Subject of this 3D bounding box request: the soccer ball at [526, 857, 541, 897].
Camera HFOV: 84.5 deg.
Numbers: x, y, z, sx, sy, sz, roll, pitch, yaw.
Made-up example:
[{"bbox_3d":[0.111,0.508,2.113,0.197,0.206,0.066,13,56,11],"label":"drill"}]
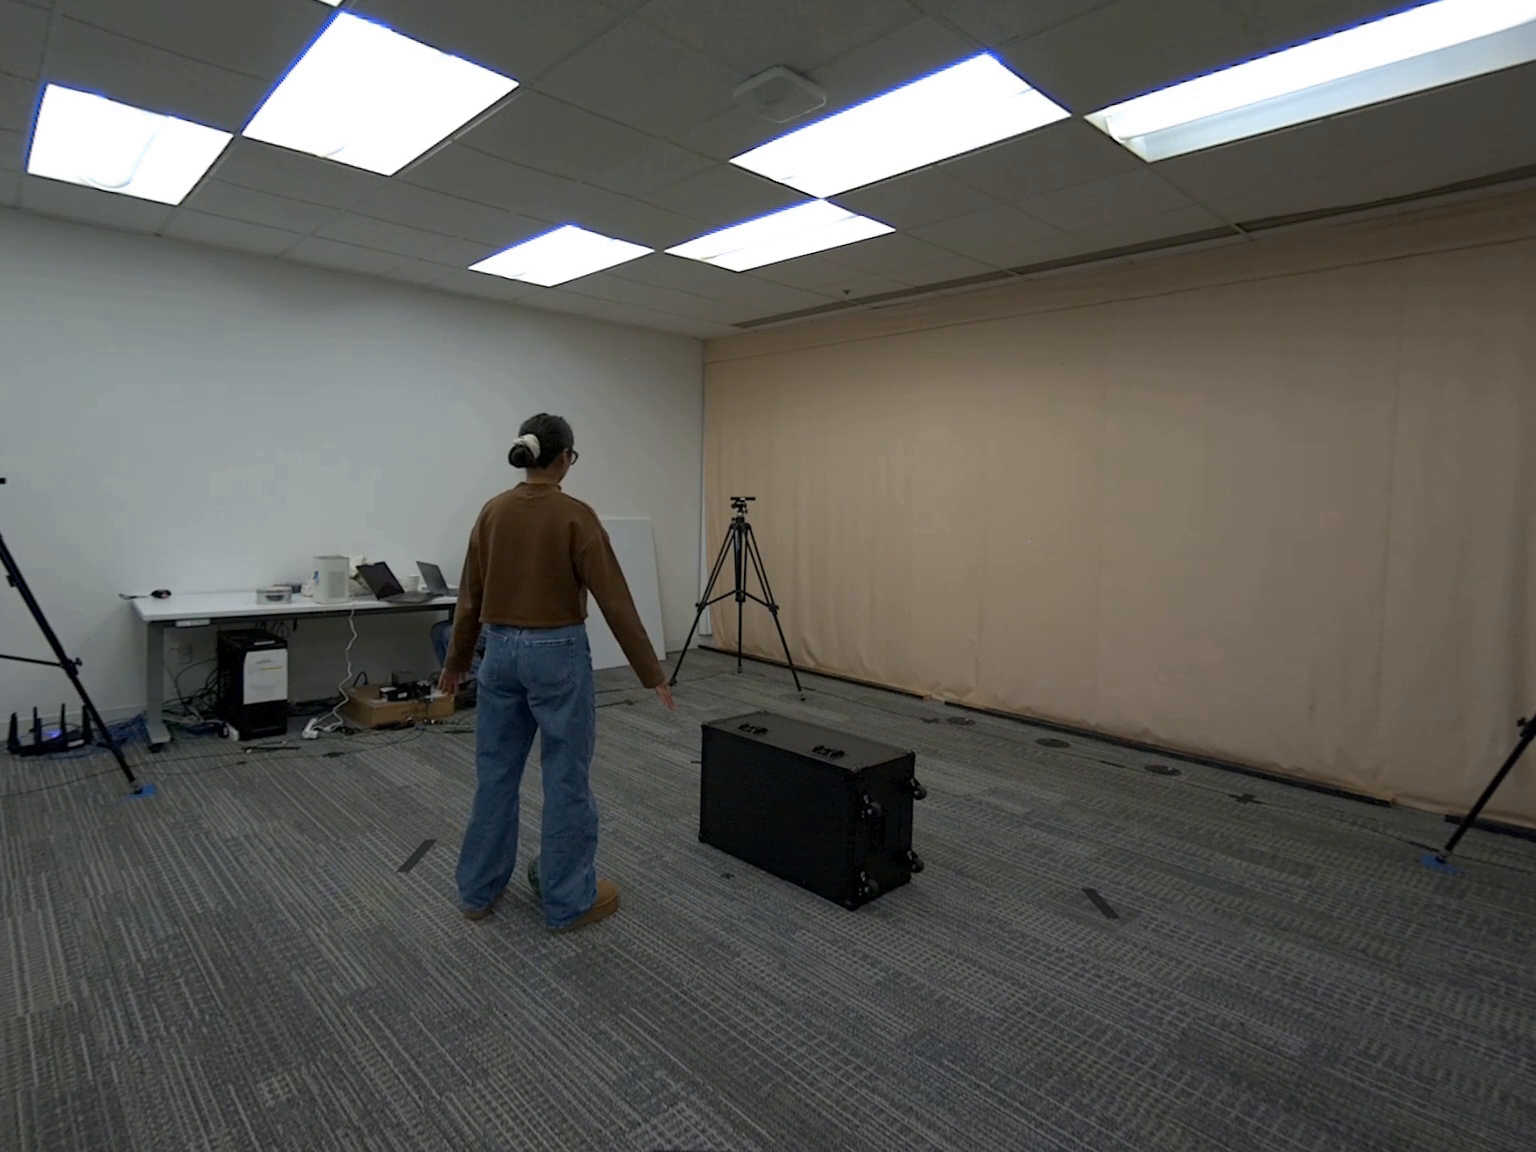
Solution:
[{"bbox_3d":[-0.727,1.020,2.917,0.187,0.187,0.188,1,4,-1],"label":"soccer ball"}]
